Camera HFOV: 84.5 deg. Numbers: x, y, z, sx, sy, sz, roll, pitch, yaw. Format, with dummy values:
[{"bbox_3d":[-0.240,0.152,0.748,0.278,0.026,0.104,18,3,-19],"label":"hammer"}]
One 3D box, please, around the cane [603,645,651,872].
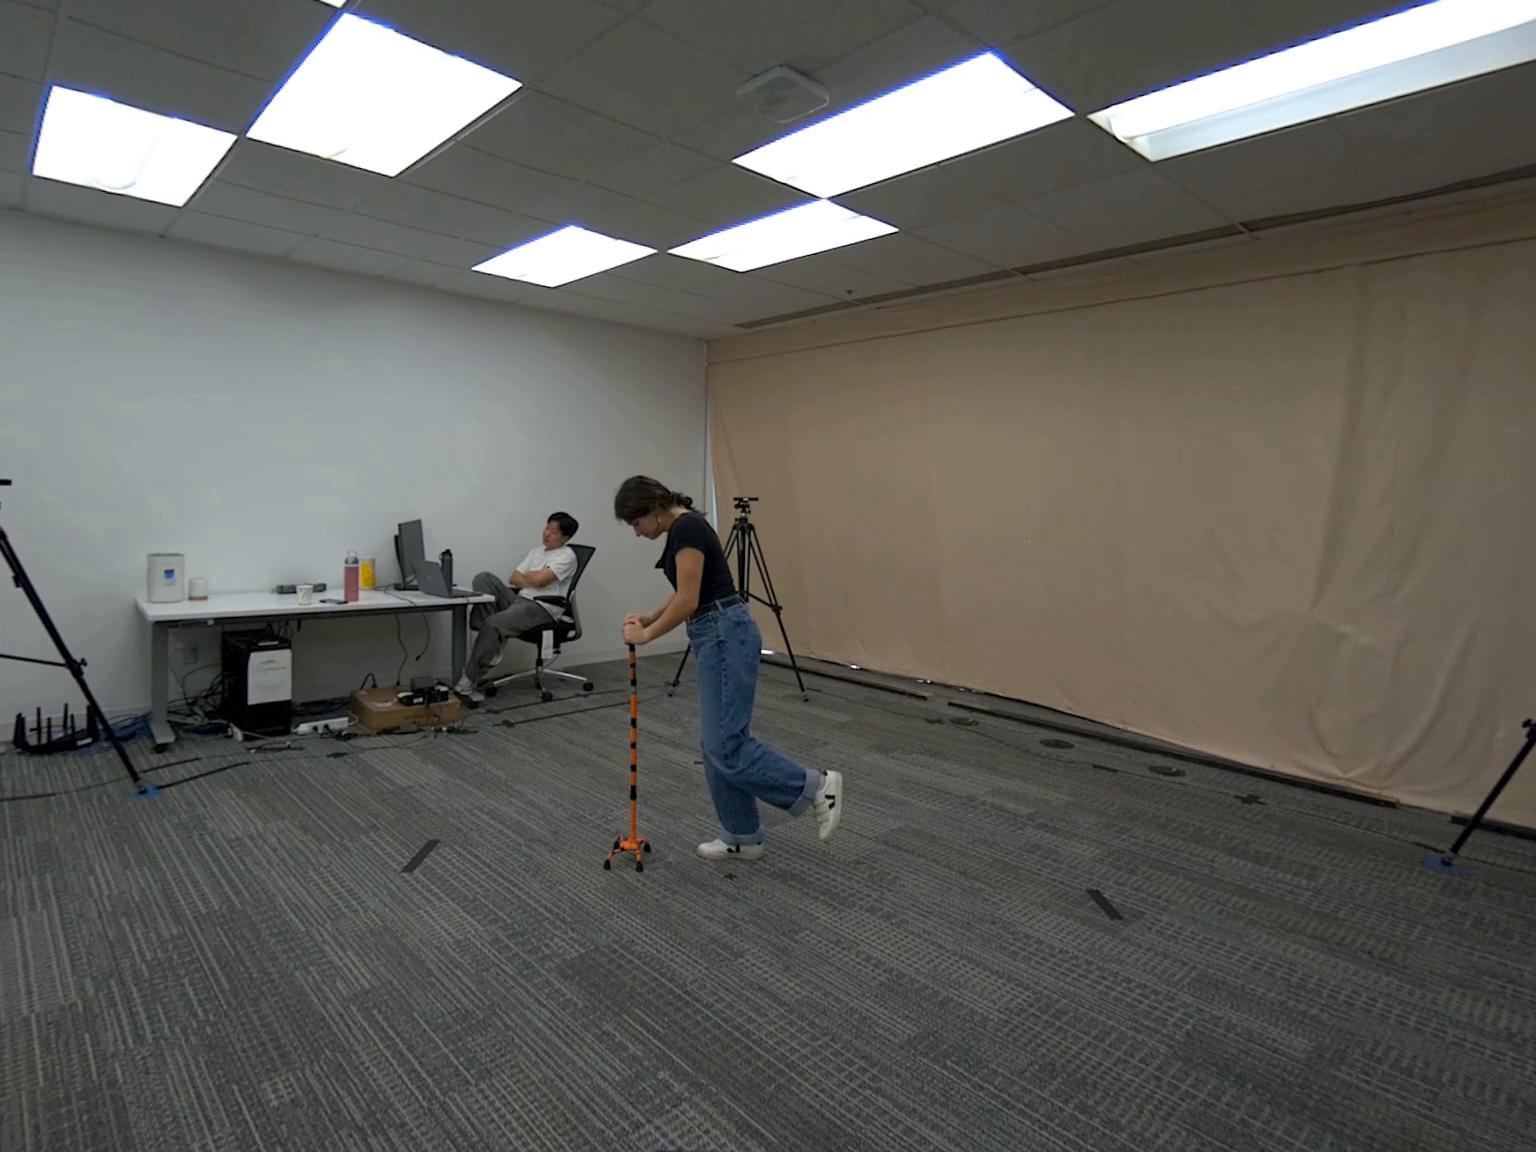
[{"bbox_3d":[-0.532,0.630,3.206,0.152,0.906,0.206,1,3,2],"label":"cane"}]
